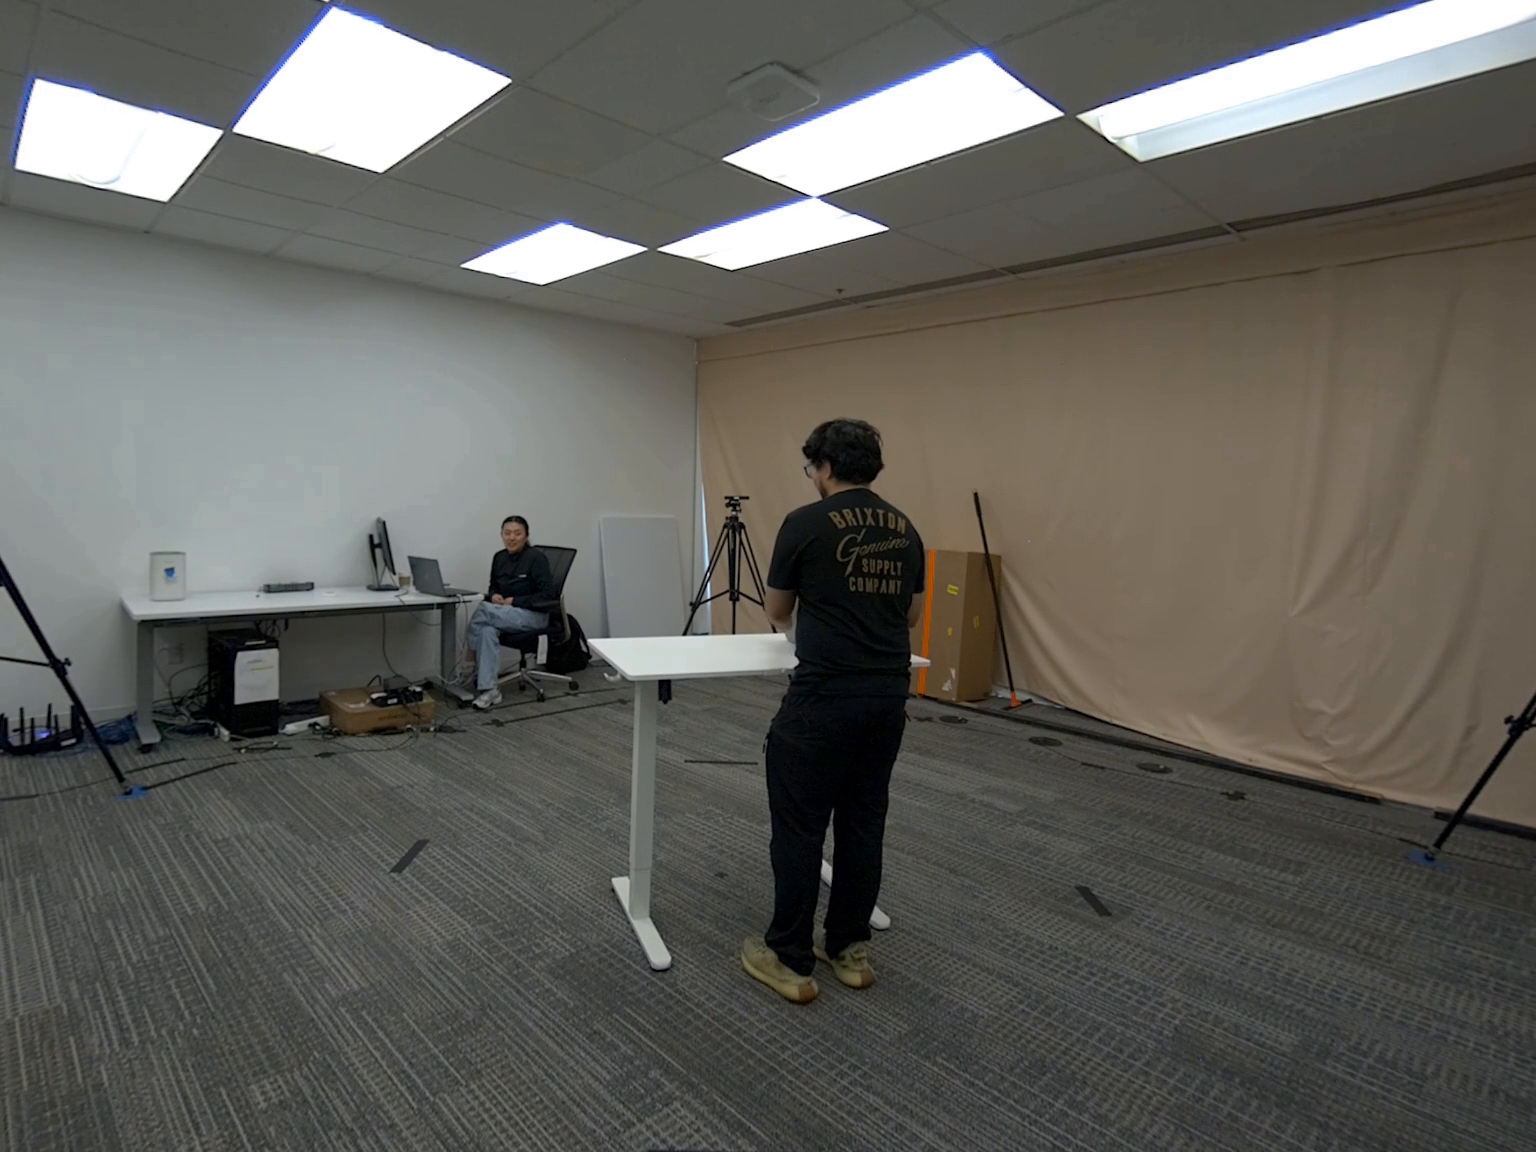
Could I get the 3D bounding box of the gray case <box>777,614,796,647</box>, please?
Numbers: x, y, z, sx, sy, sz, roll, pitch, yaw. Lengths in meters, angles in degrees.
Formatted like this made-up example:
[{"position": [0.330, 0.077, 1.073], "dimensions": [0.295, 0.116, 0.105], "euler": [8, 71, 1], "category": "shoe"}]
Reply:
[{"position": [0.124, 0.115, 2.919], "dimensions": [0.103, 0.259, 0.260], "euler": [-6, 6, -11], "category": "gray case"}]
